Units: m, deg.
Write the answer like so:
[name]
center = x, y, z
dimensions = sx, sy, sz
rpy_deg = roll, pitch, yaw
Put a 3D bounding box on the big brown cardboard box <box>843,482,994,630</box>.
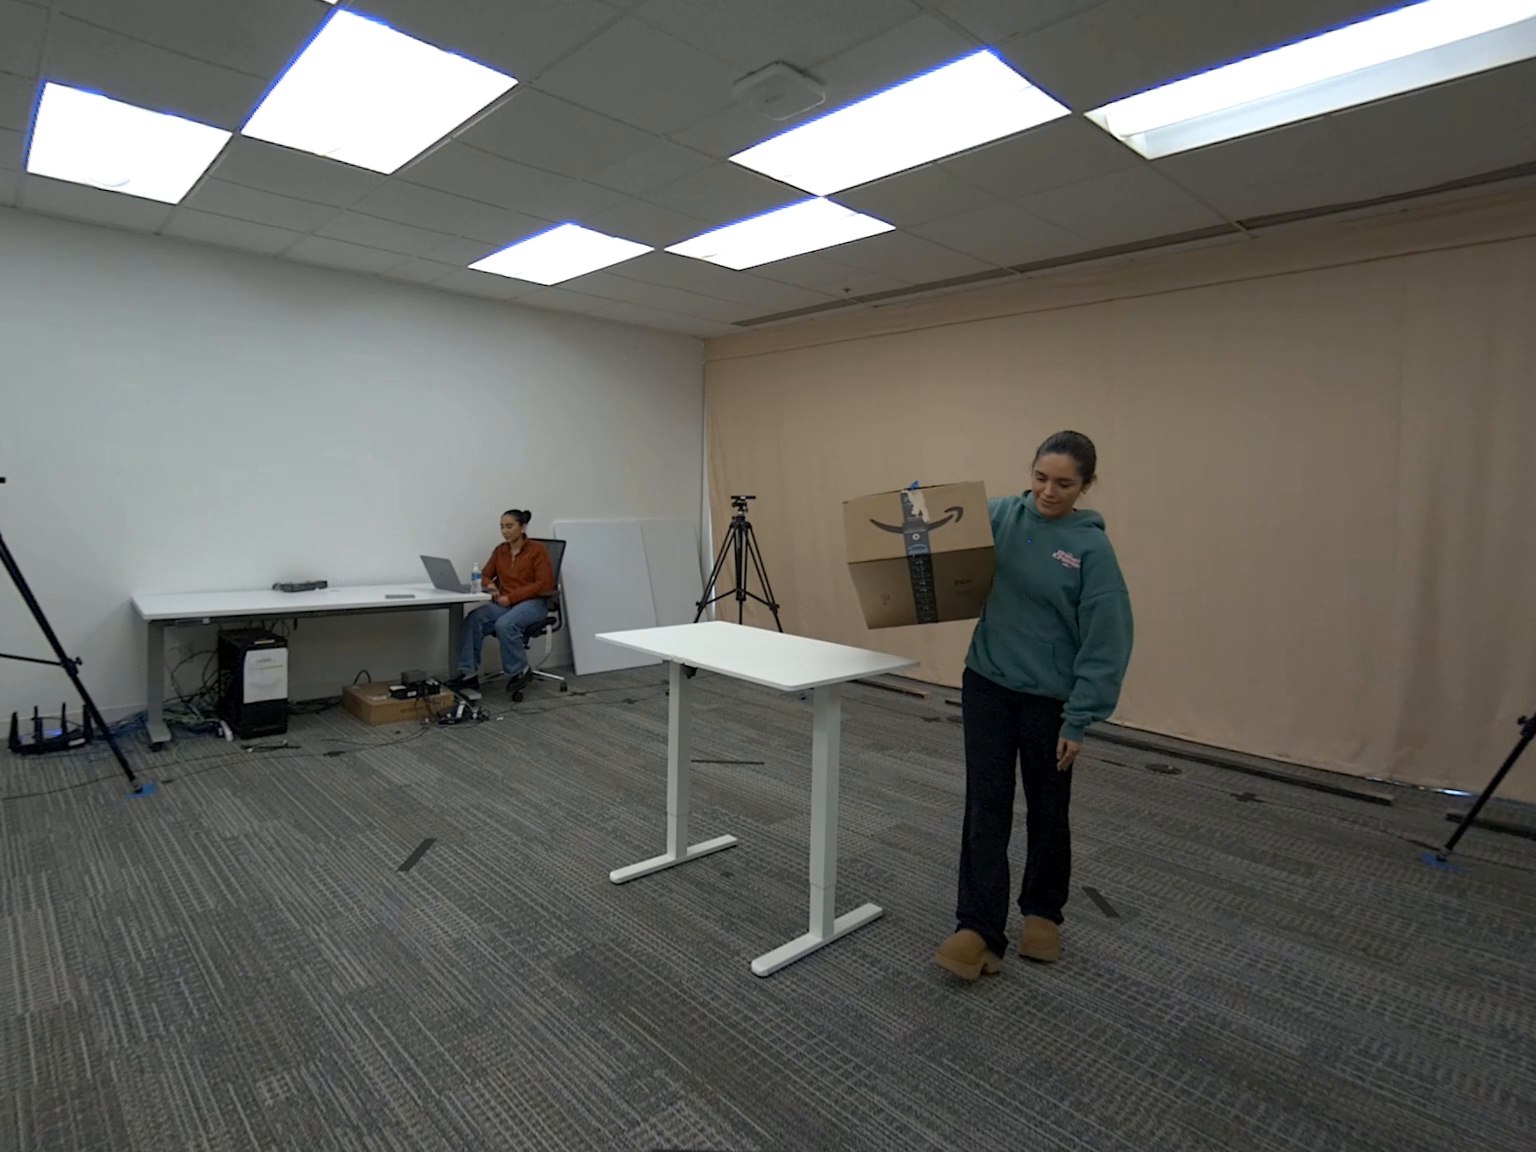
[big brown cardboard box]
center = 0.479, -0.039, 2.683
dimensions = 0.421, 0.237, 0.574
rpy_deg = -6, -25, 11
